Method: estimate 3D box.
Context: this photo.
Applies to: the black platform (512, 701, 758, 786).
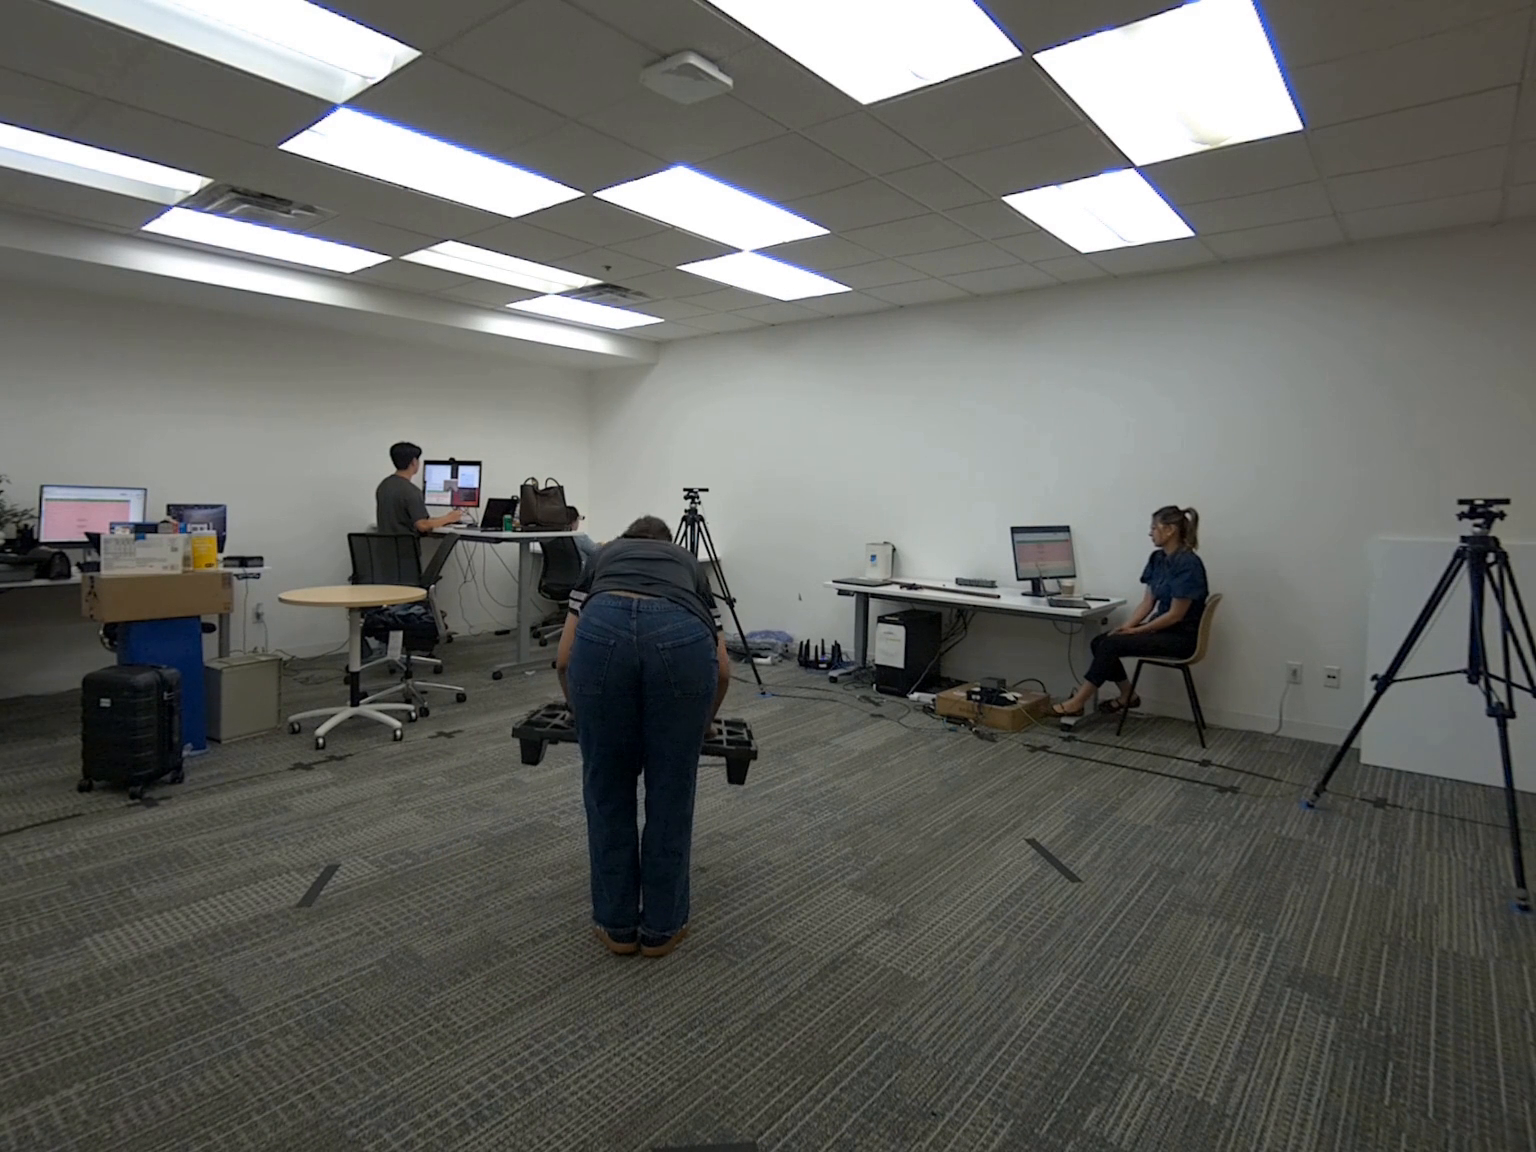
[{"bbox_3d":[-0.463,0.588,3.024,0.805,0.144,0.604,5,-1,-1],"label":"black platform"}]
